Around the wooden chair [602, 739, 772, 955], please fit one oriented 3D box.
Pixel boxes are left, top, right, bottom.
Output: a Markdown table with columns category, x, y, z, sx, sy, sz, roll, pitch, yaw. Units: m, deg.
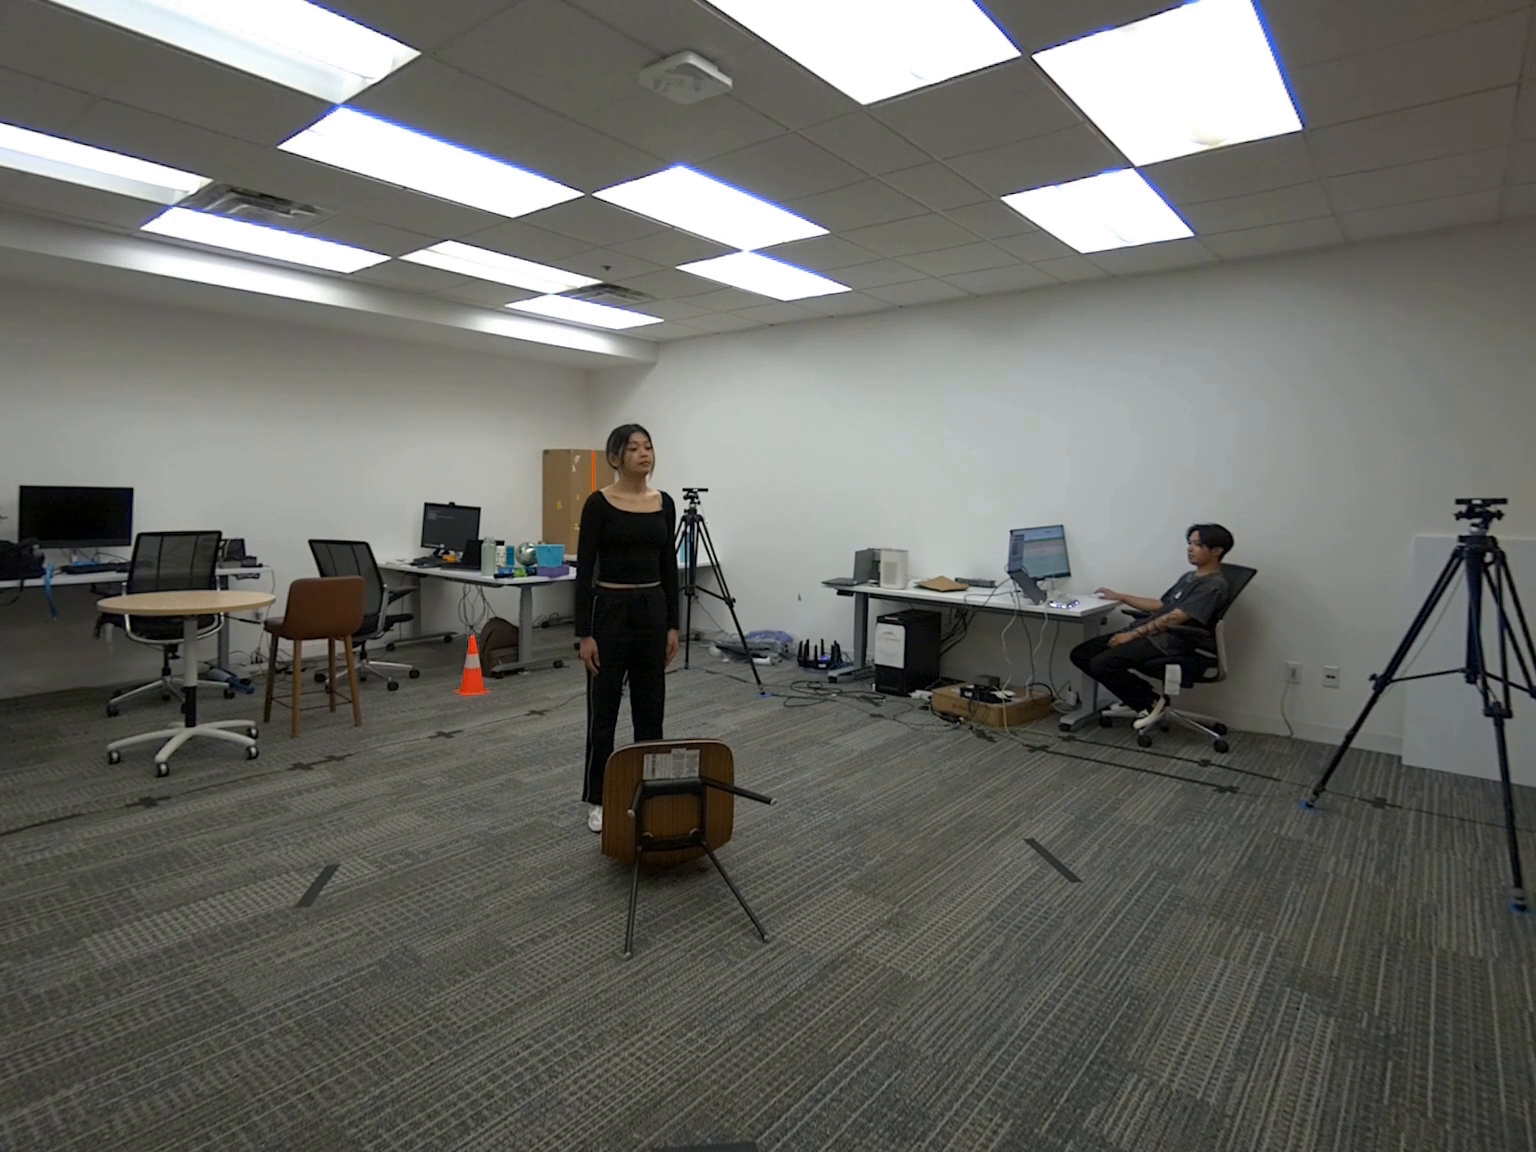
| category | x | y | z | sx | sy | sz | roll | pitch | yaw |
| --- | --- | --- | --- | --- | --- | --- | --- | --- | --- |
| wooden chair | -0.344 | 0.821 | 2.944 | 0.470 | 0.522 | 0.895 | 0 | 4 | -18 |
